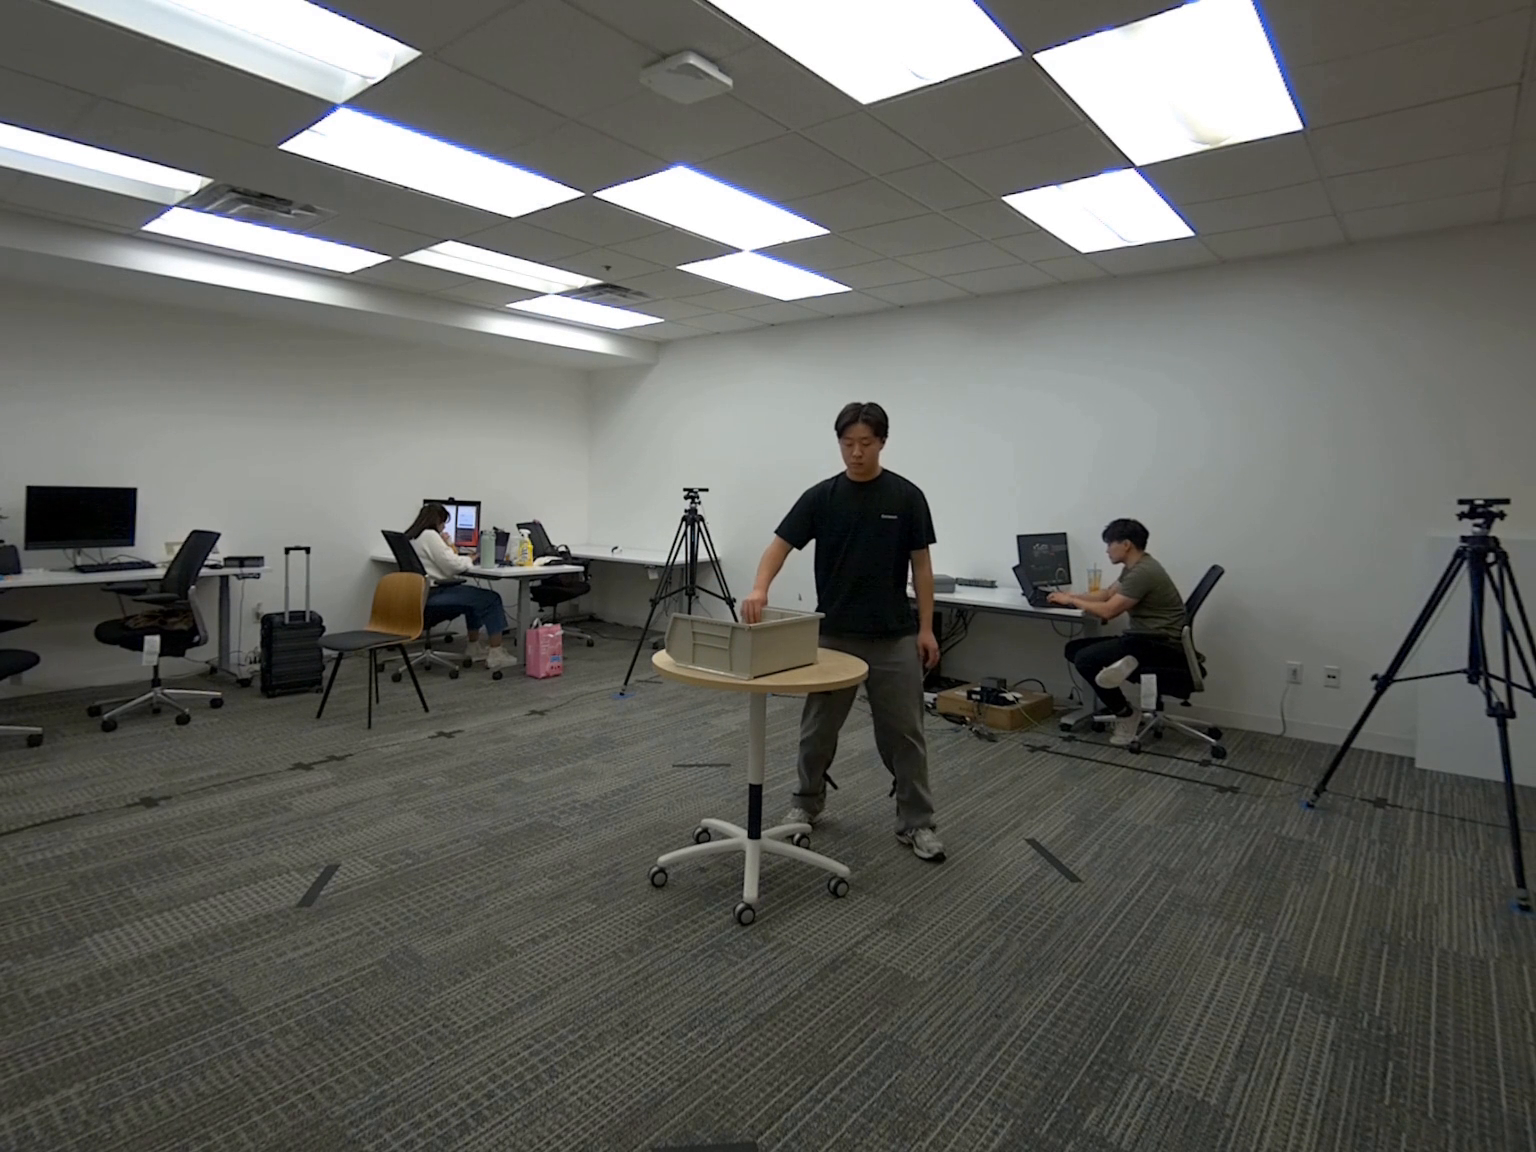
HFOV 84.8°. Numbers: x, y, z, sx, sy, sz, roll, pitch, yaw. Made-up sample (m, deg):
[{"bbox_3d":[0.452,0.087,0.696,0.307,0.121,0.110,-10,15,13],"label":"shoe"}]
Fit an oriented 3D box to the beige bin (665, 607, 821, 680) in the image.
[{"bbox_3d":[-0.093,0.216,2.956,0.390,0.188,0.410,7,8,39],"label":"beige bin"}]
